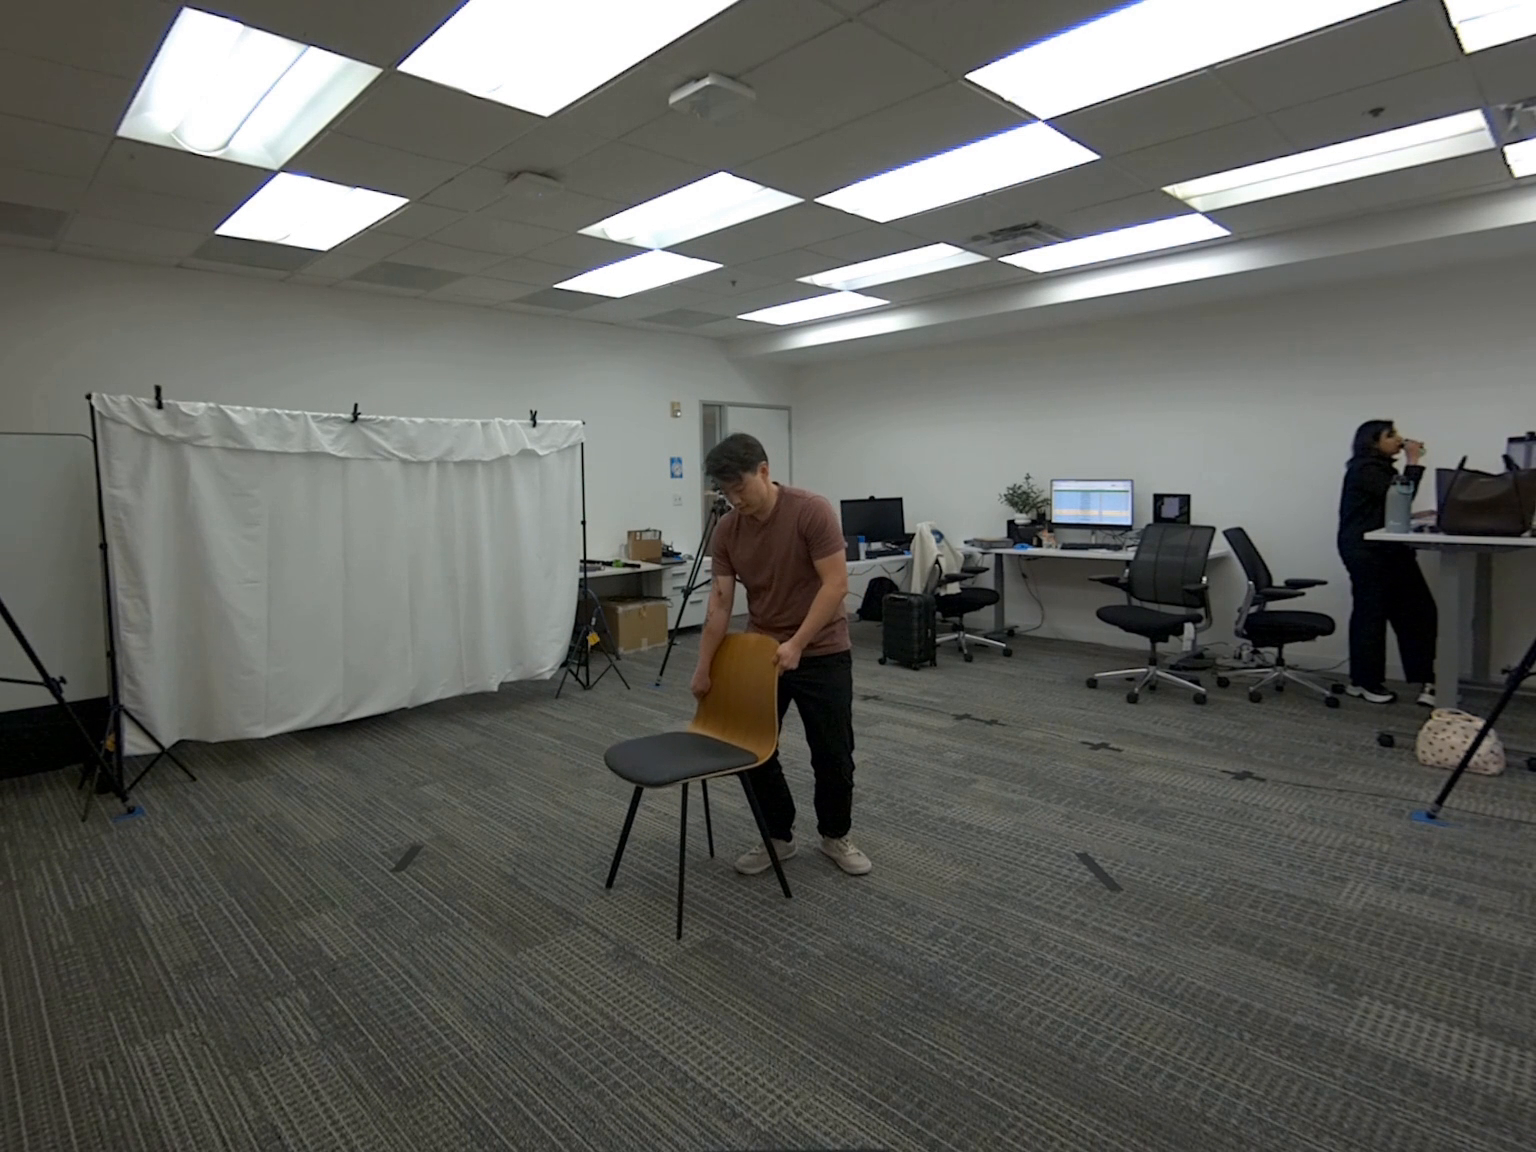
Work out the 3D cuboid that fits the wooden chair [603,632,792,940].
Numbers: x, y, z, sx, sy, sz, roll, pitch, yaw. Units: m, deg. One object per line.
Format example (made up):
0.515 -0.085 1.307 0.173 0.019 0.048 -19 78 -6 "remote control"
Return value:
-0.248 0.639 2.832 0.508 0.878 0.492 3 0 -38 "wooden chair"
